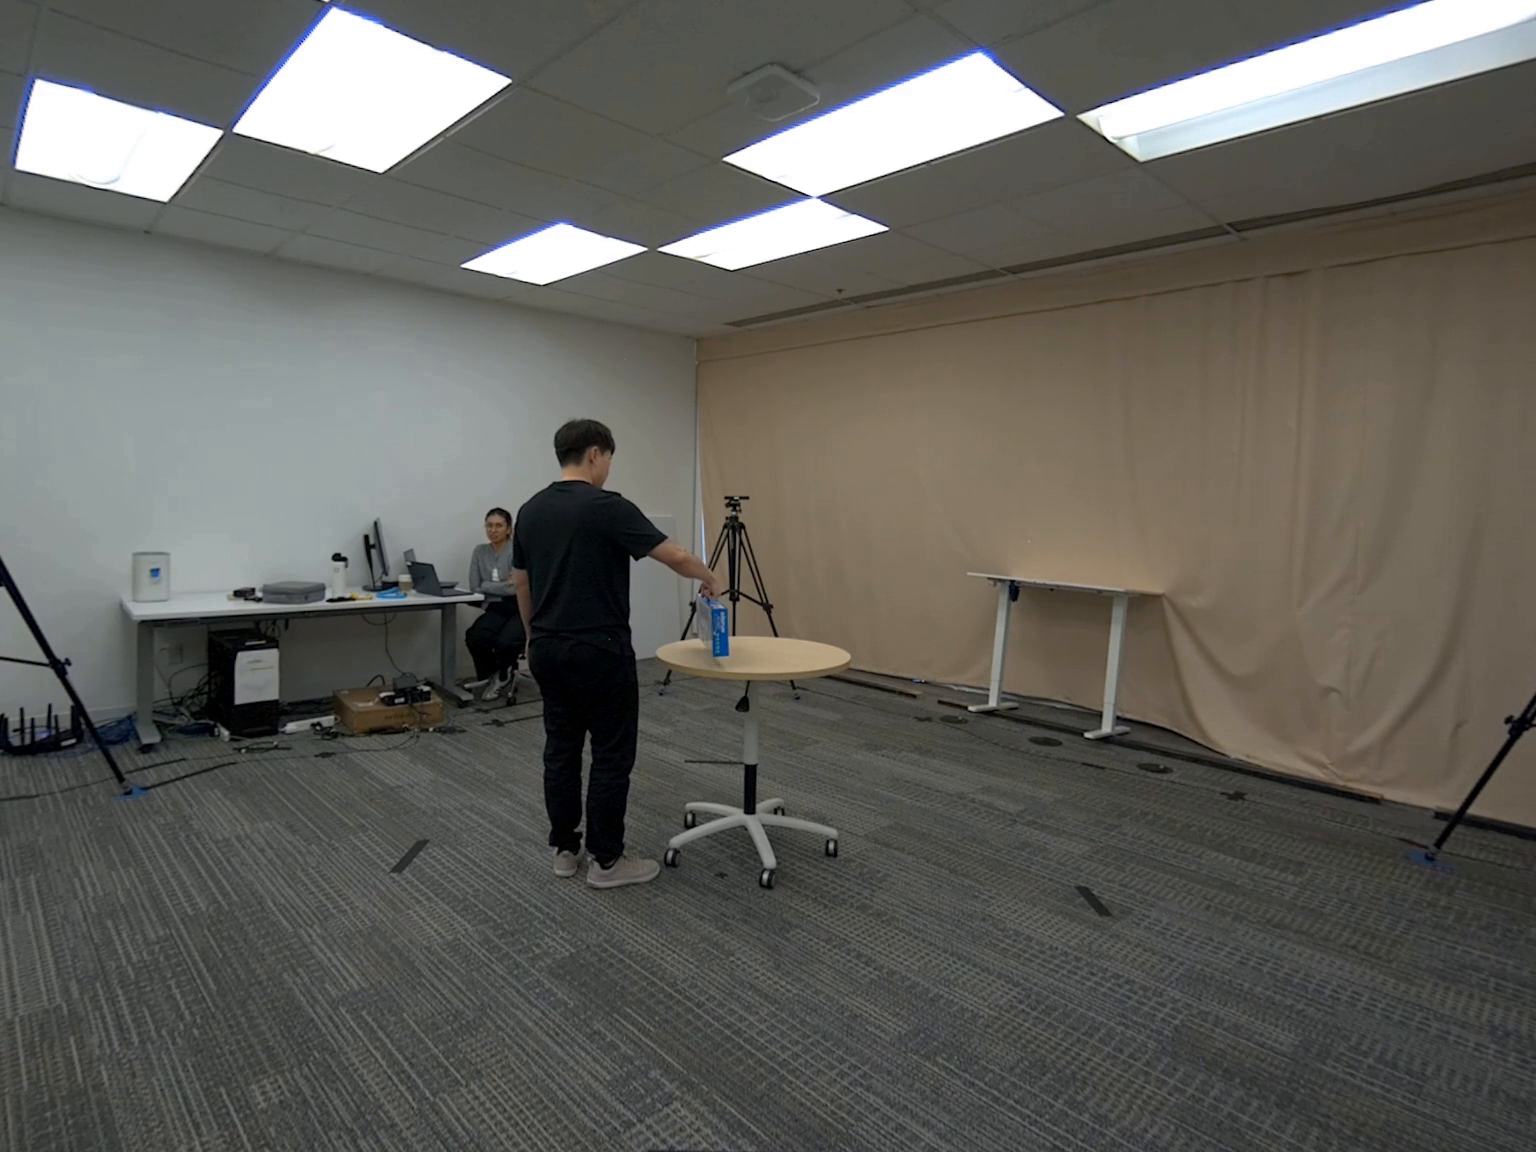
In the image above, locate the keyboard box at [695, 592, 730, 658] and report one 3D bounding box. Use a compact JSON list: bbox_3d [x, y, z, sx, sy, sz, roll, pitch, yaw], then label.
[{"bbox_3d":[-0.223,0.176,3.192,0.058,0.175,0.442,-2,7,-12],"label":"keyboard box"}]
